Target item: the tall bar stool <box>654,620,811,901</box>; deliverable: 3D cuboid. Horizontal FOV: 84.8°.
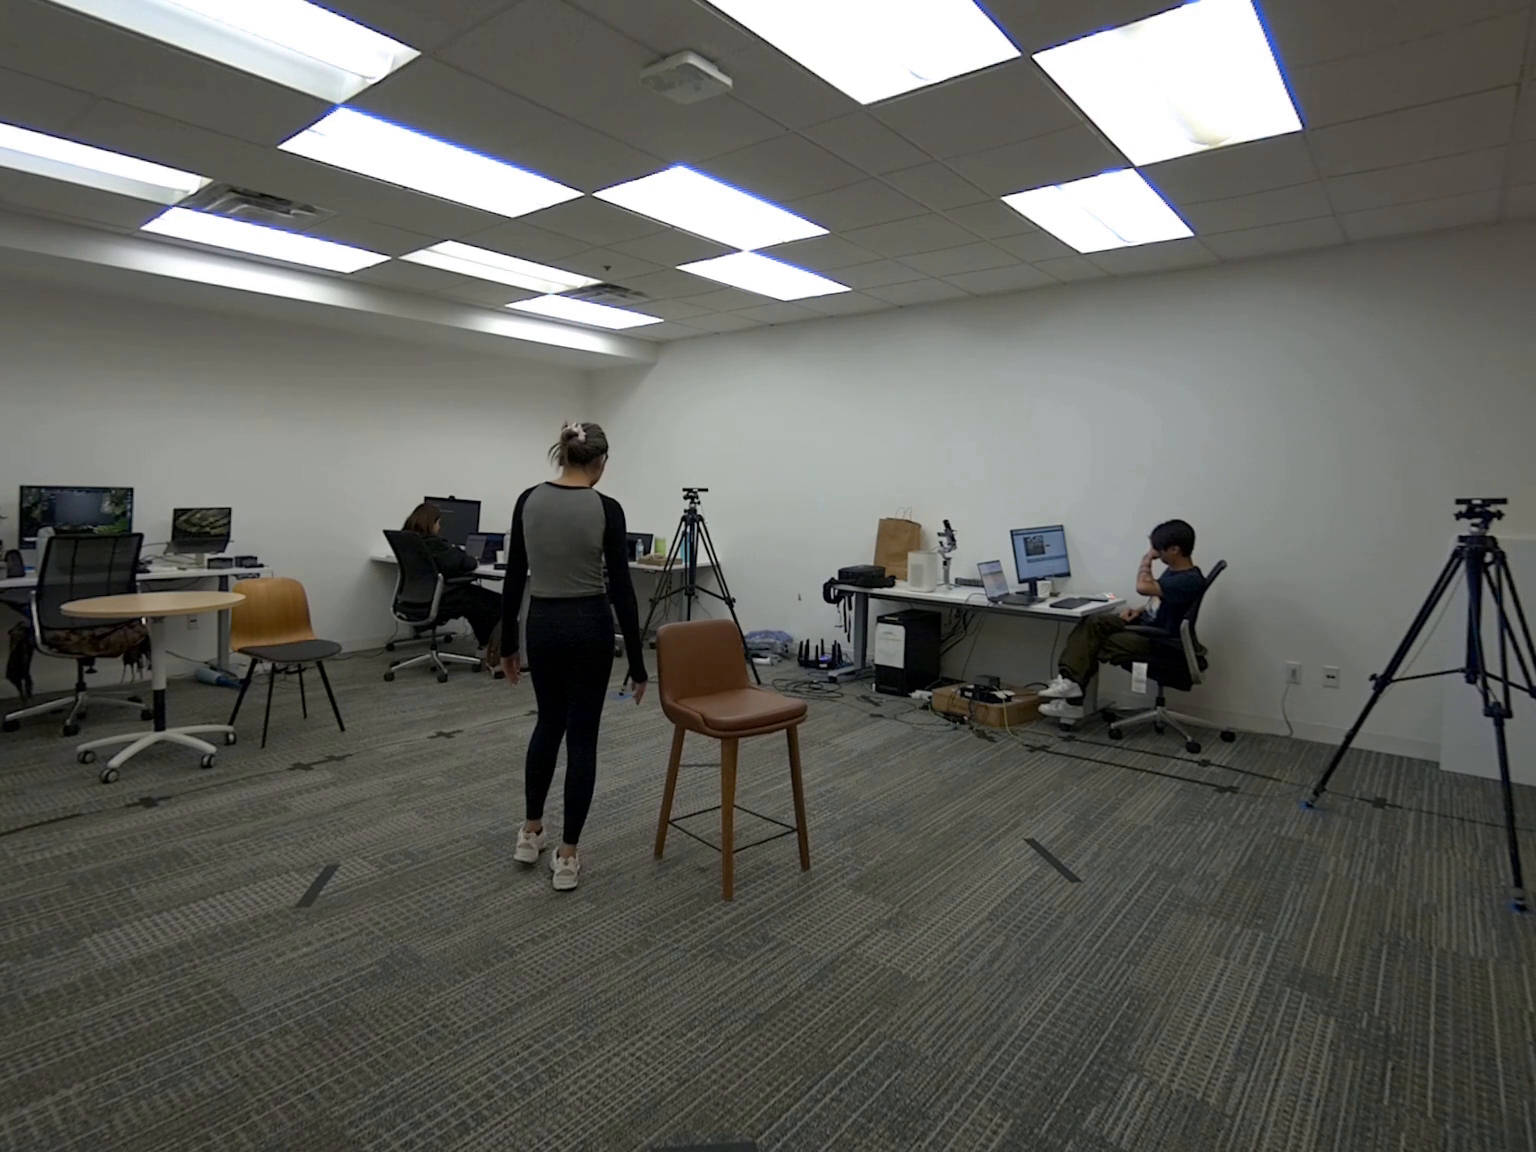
[{"bbox_3d":[-0.146,0.632,3.147,0.442,0.888,0.483,-2,2,-43],"label":"tall bar stool"}]
